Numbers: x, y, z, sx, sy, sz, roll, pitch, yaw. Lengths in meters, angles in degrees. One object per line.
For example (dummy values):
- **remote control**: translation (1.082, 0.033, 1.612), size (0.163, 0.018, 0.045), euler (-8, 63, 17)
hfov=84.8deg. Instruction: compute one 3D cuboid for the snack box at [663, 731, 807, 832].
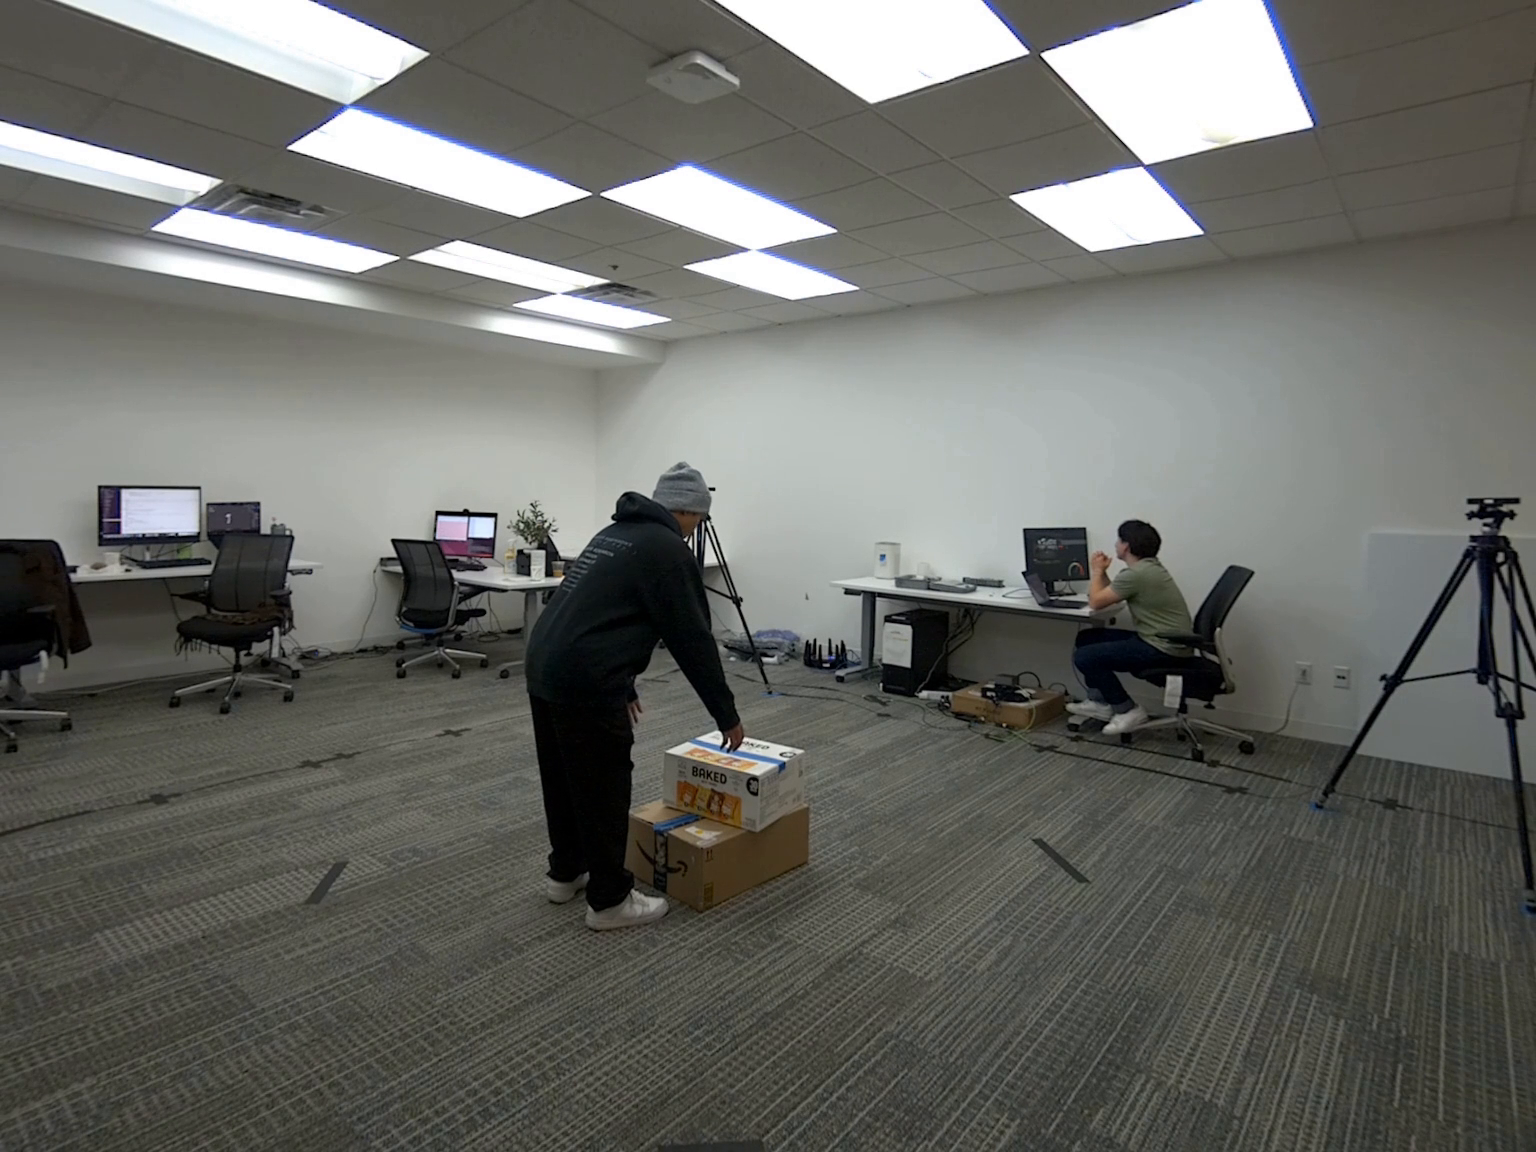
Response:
- **snack box**: translation (-0.133, 0.745, 3.142), size (0.418, 0.205, 0.331), euler (5, 7, 32)
